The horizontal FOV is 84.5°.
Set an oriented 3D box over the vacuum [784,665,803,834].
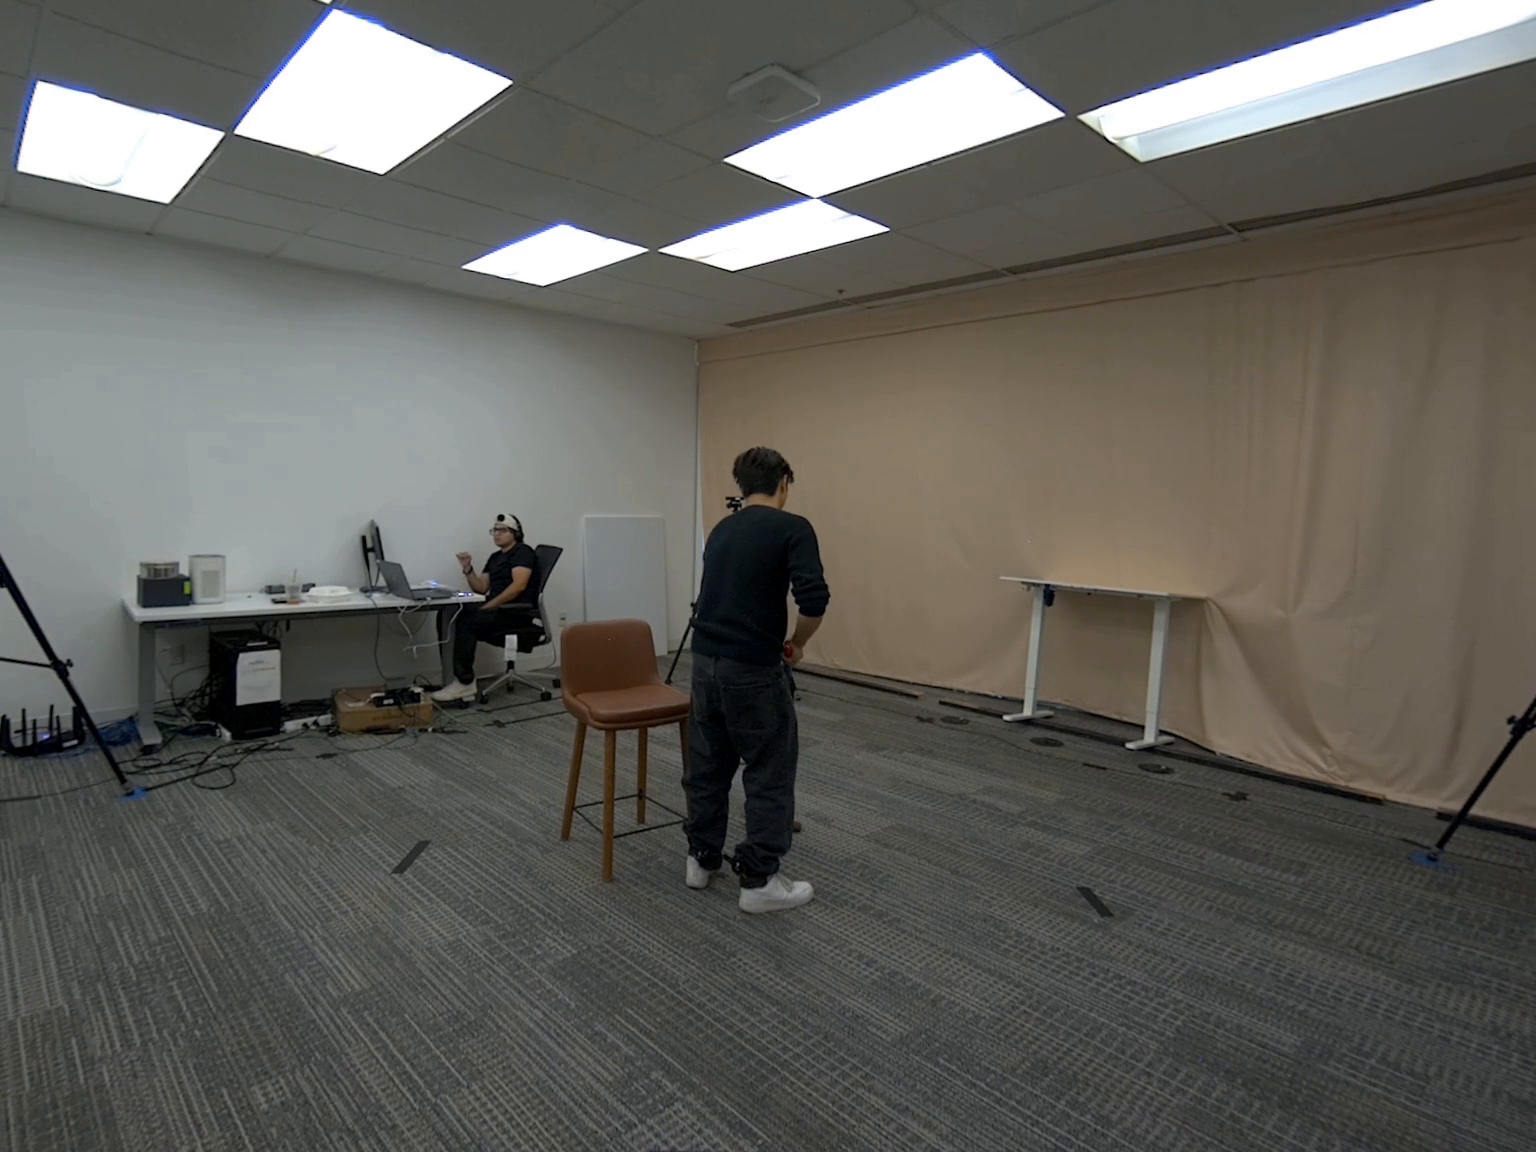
[{"bbox_3d":[0.038,0.656,3.228,0.254,1.029,0.146,9,38,5],"label":"vacuum"}]
